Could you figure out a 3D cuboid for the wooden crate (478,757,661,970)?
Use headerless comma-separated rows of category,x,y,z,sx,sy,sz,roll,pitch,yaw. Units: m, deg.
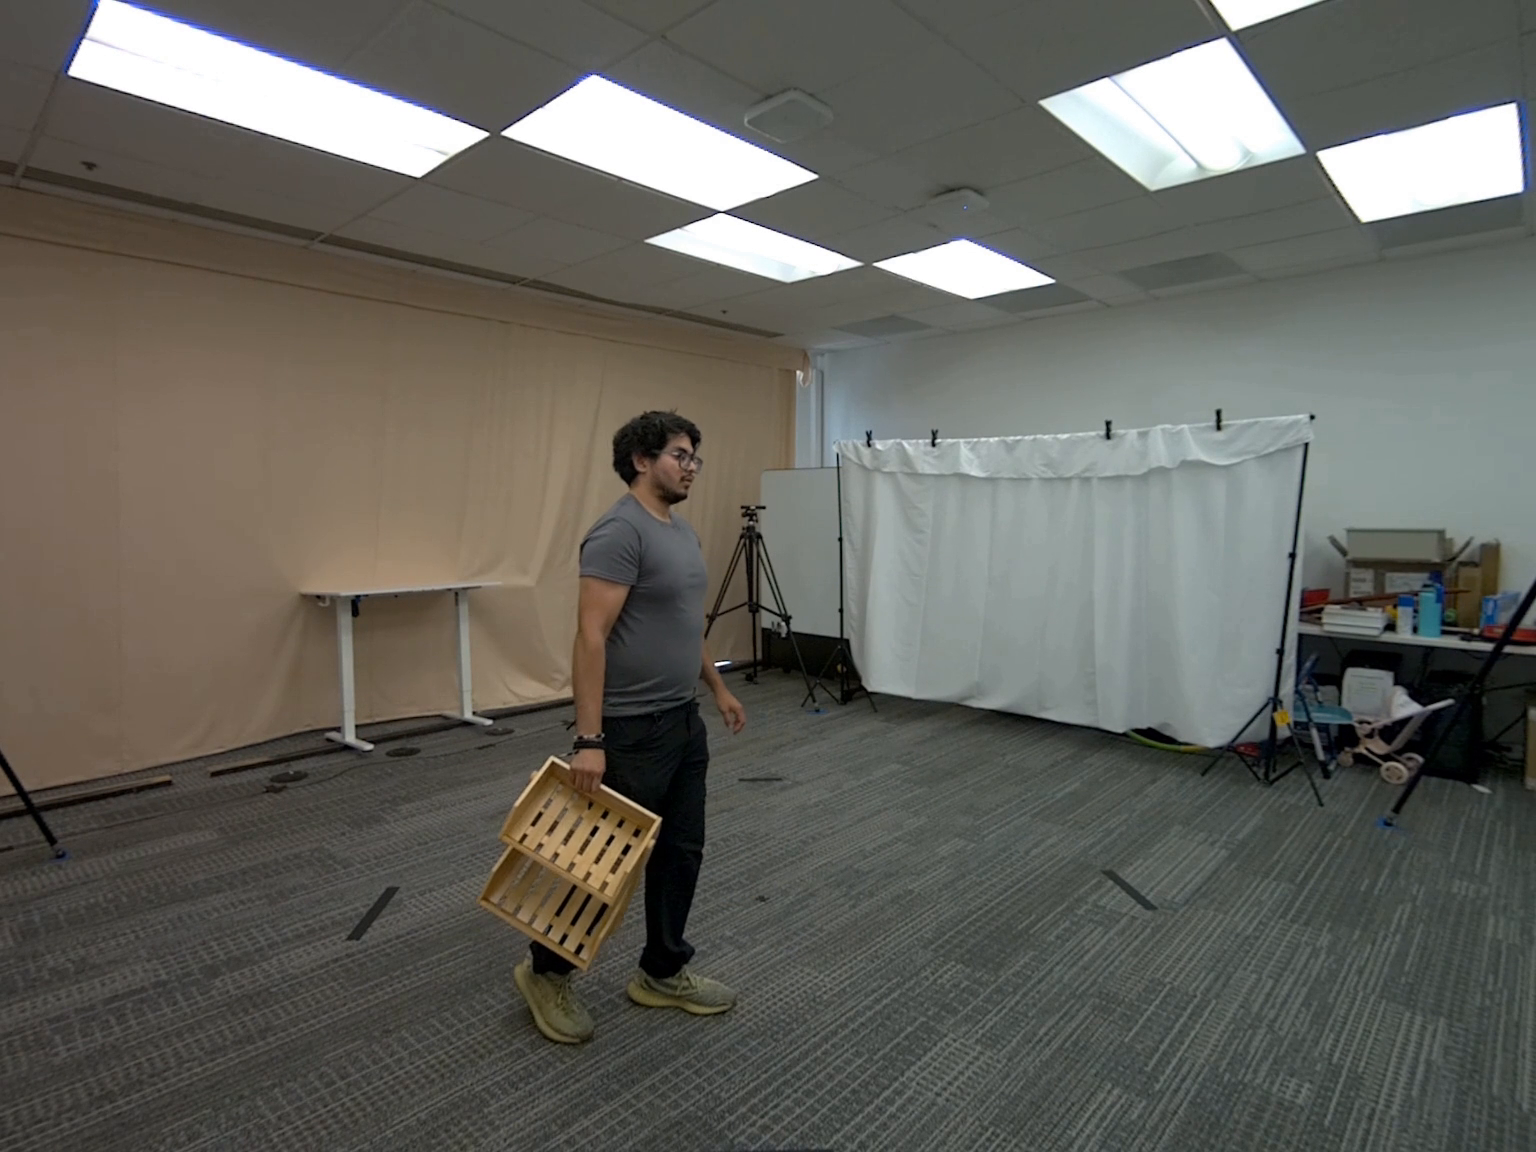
wooden crate,-0.458,0.669,1.929,0.329,0.270,0.301,24,48,11
